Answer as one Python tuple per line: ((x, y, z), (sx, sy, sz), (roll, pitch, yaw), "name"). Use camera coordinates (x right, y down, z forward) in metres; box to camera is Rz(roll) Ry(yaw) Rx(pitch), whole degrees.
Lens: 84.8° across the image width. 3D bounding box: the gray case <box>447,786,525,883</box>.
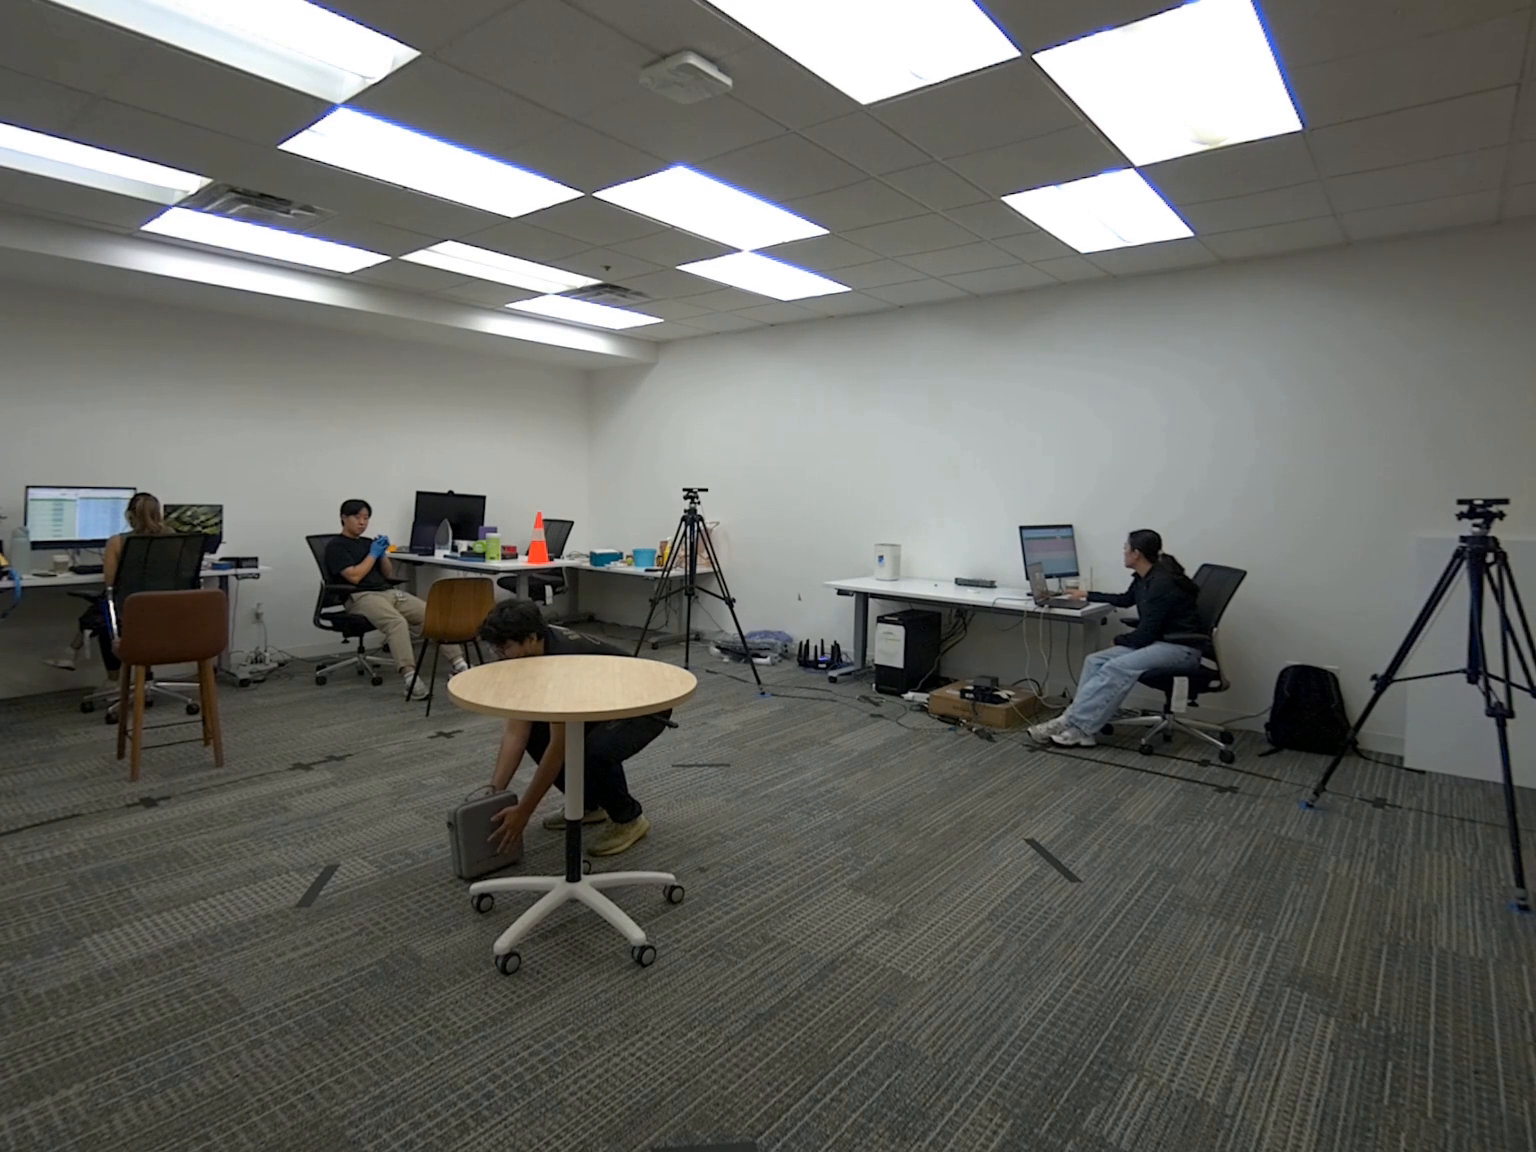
((-1.046, 0.928, 3.085), (0.107, 0.262, 0.249), (-12, -5, 43), "gray case")
